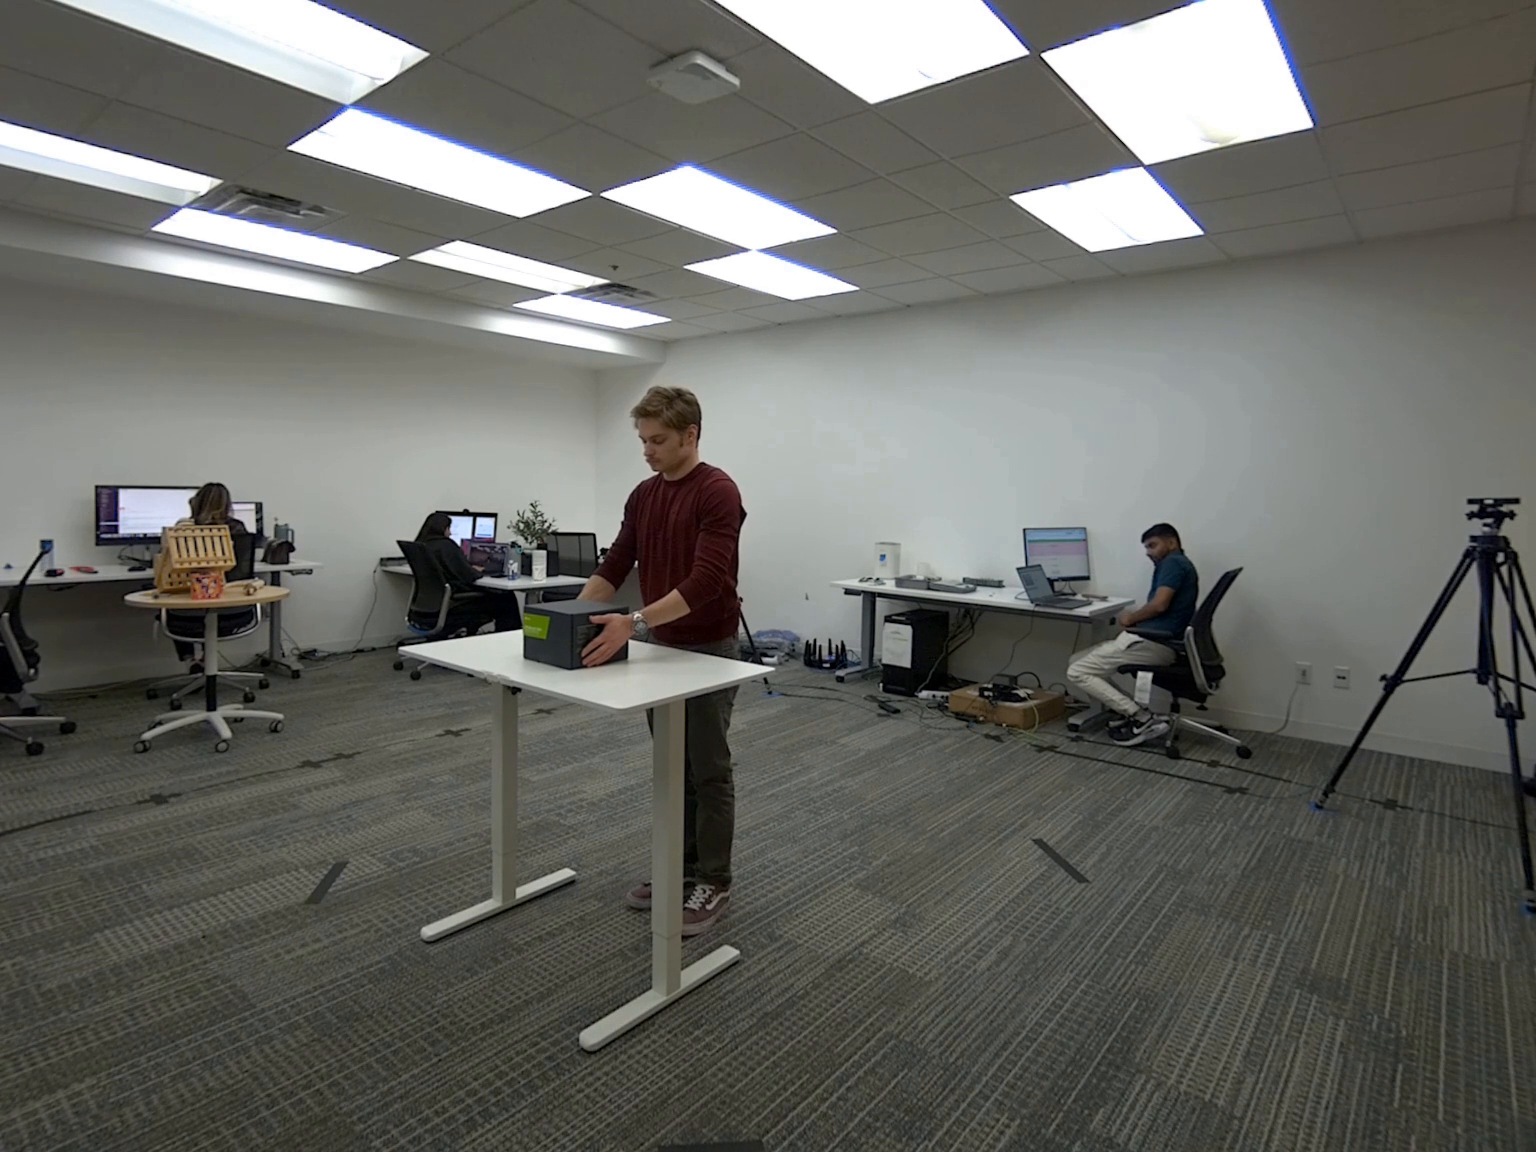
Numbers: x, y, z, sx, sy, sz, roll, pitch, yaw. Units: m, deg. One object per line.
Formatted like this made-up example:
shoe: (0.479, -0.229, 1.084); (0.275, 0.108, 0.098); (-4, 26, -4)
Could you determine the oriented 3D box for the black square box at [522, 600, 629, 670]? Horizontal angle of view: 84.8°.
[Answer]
black square box: (-0.574, 0.161, 2.484); (0.235, 0.155, 0.211); (5, 7, 39)
